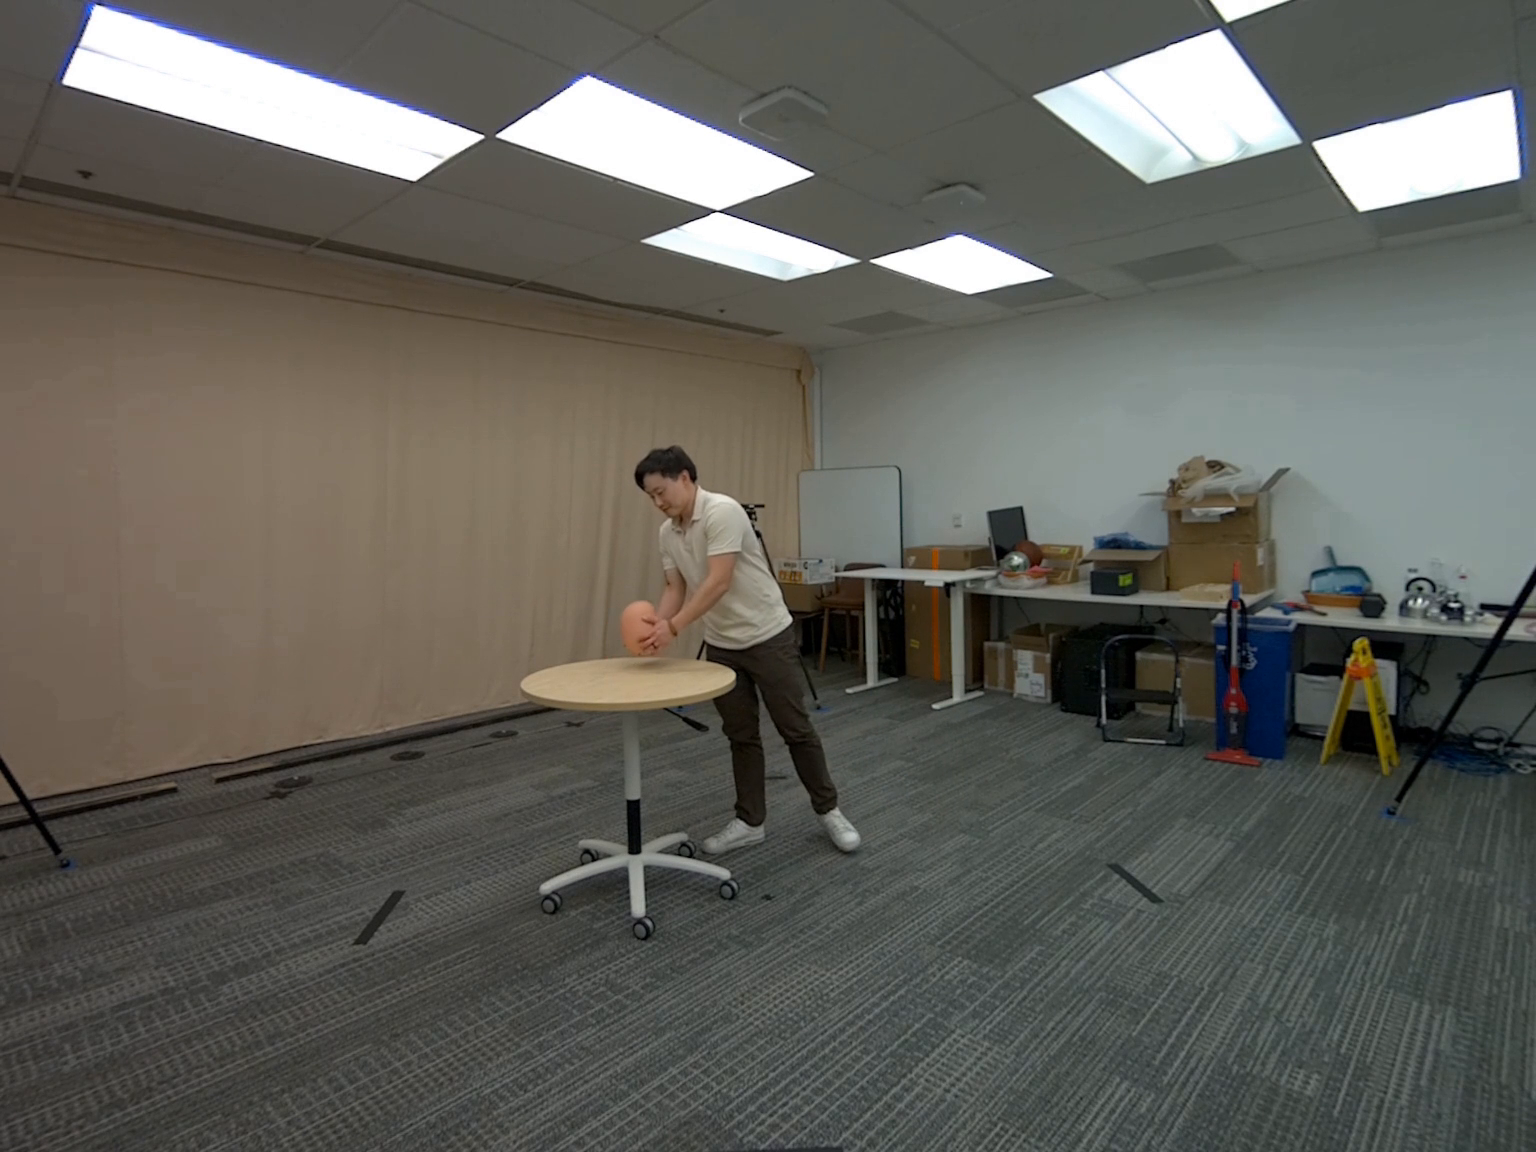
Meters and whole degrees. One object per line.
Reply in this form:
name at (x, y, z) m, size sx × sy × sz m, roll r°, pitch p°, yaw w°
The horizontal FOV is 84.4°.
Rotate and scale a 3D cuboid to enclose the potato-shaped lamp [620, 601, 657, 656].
potato-shaped lamp at (-0.466, 0.196, 3.177) m, size 0.169 × 0.199 × 0.166 m, roll -12°, pitch -6°, yaw -16°
